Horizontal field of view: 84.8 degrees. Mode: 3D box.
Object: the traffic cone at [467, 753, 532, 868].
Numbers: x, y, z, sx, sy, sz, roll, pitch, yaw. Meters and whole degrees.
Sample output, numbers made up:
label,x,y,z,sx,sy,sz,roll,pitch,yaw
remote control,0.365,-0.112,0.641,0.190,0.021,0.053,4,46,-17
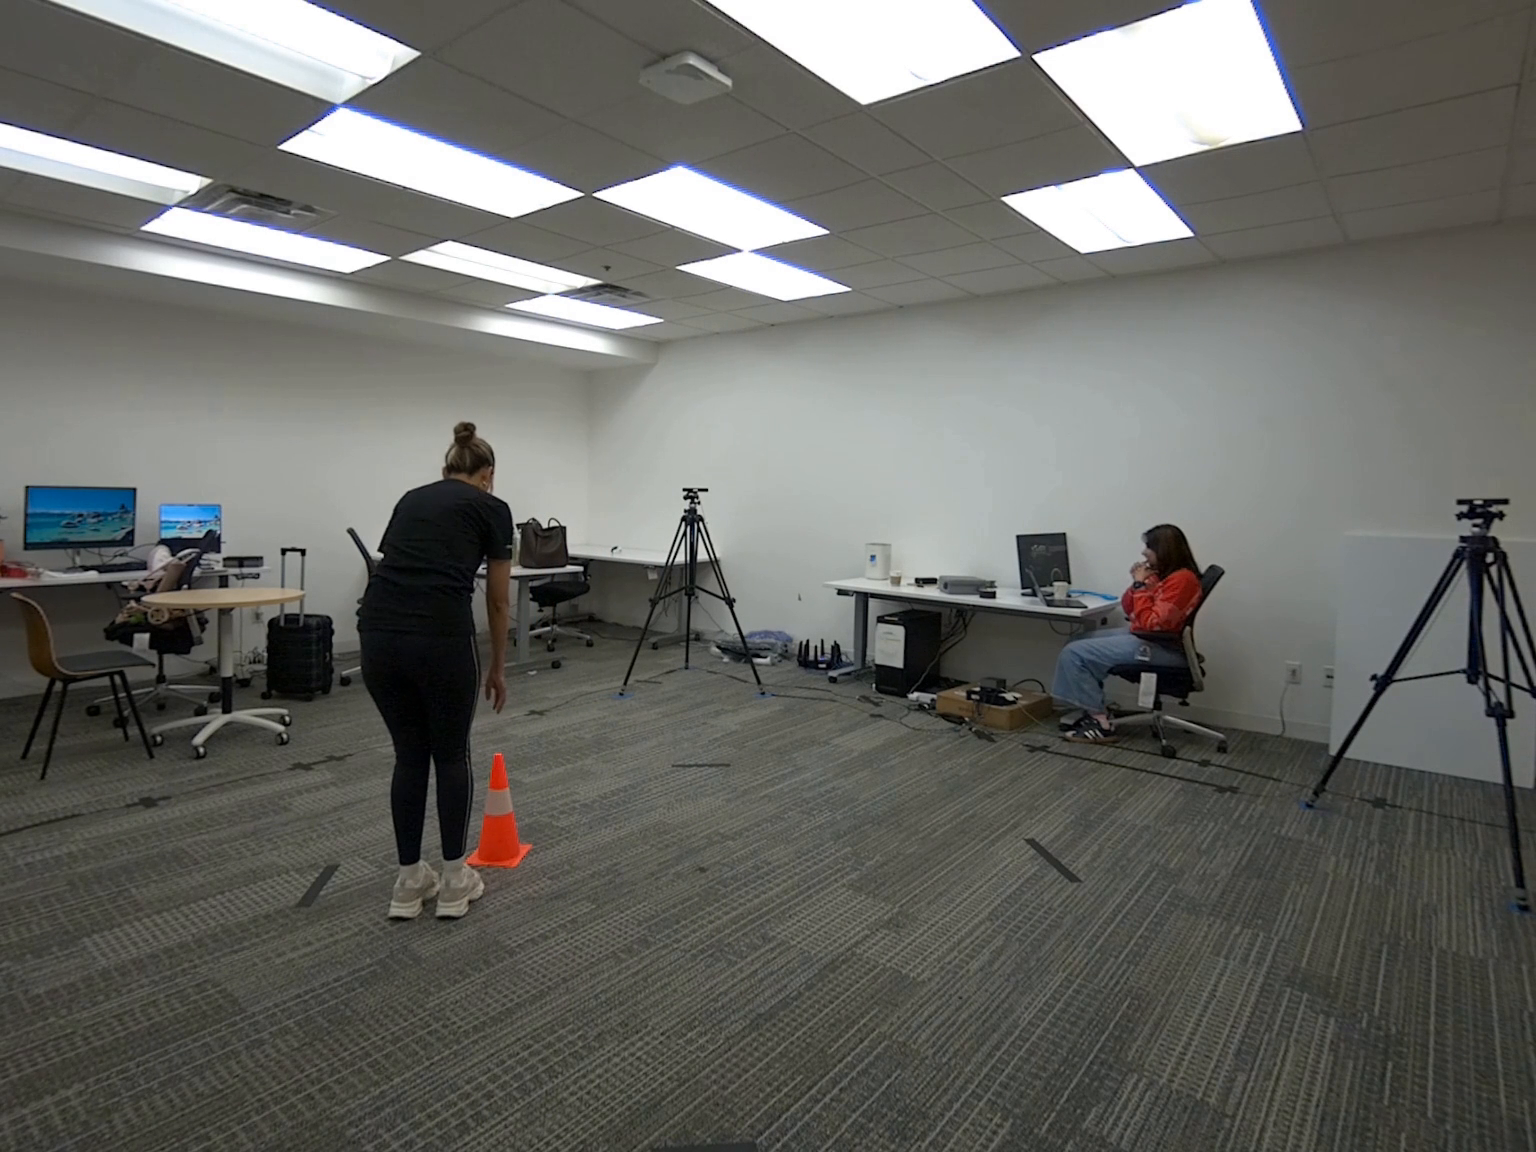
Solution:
label,x,y,z,sx,sy,sz,roll,pitch,yaw
traffic cone,-1.025,0.864,3.197,0.207,0.382,0.202,0,3,9
